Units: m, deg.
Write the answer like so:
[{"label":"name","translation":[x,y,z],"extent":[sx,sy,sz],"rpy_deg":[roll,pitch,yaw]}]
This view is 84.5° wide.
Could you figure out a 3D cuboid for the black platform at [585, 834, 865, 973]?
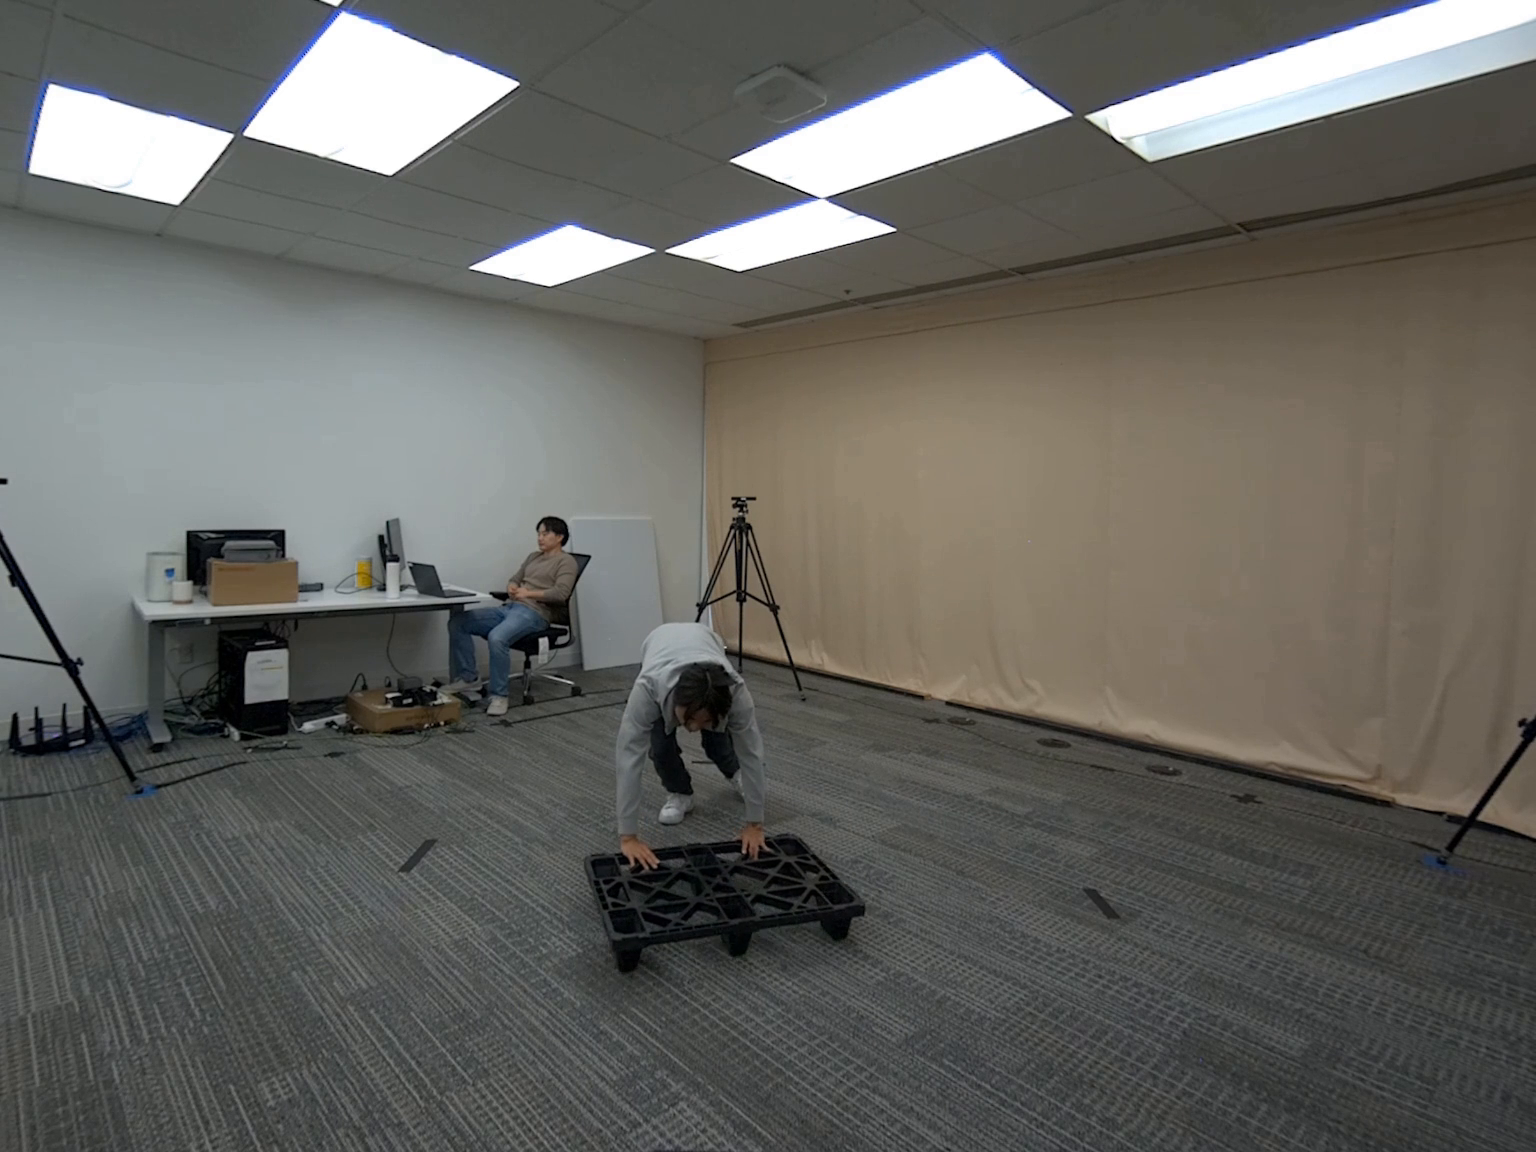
[{"label":"black platform","translation":[-0.172,1.065,2.779],"extent":[0.794,0.143,0.615],"rpy_deg":[-1,6,-18]}]
